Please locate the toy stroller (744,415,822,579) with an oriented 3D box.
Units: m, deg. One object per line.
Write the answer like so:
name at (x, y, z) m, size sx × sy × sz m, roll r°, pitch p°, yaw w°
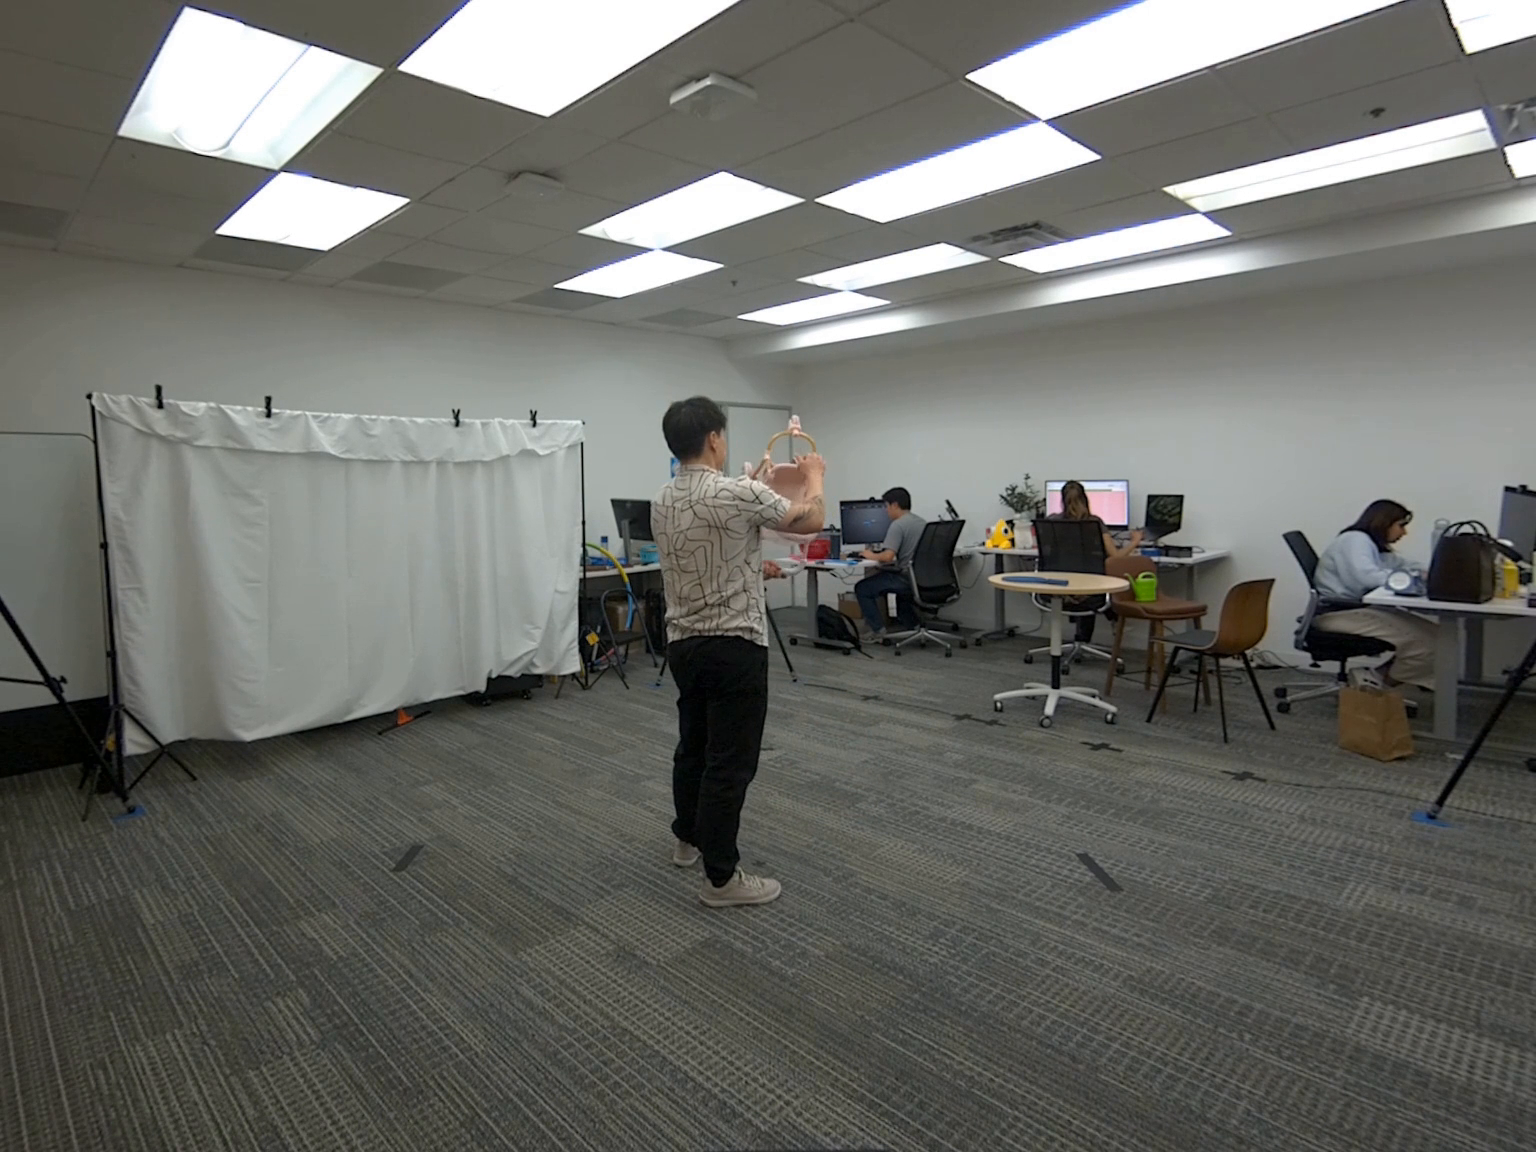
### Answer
toy stroller at (0.079, -0.310, 3.242) m, size 0.276 × 0.549 × 0.338 m, roll 9°, pitch -37°, yaw -18°
